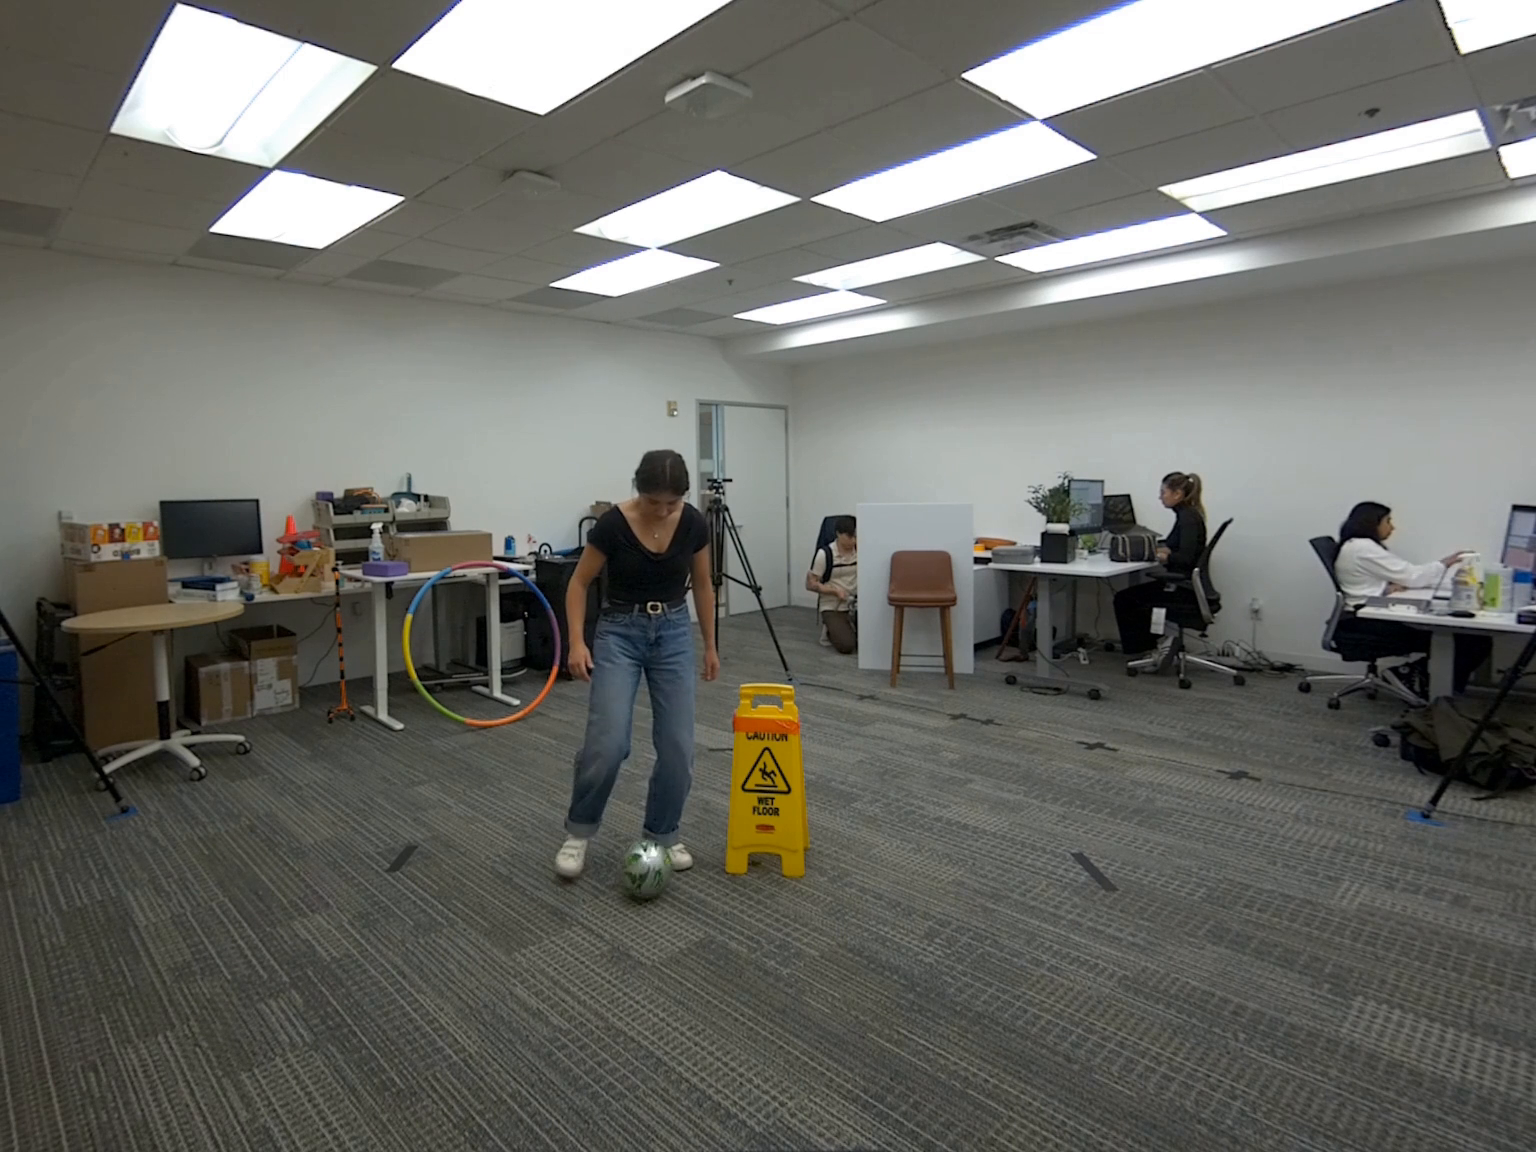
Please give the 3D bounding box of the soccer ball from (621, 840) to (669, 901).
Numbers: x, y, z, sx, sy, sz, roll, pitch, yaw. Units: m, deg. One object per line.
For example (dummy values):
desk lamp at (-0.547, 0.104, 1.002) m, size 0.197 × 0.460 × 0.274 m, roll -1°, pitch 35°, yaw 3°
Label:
soccer ball at (-0.417, 0.991, 2.878) m, size 0.187 × 0.187 × 0.188 m, roll -1°, pitch 5°, yaw -2°
